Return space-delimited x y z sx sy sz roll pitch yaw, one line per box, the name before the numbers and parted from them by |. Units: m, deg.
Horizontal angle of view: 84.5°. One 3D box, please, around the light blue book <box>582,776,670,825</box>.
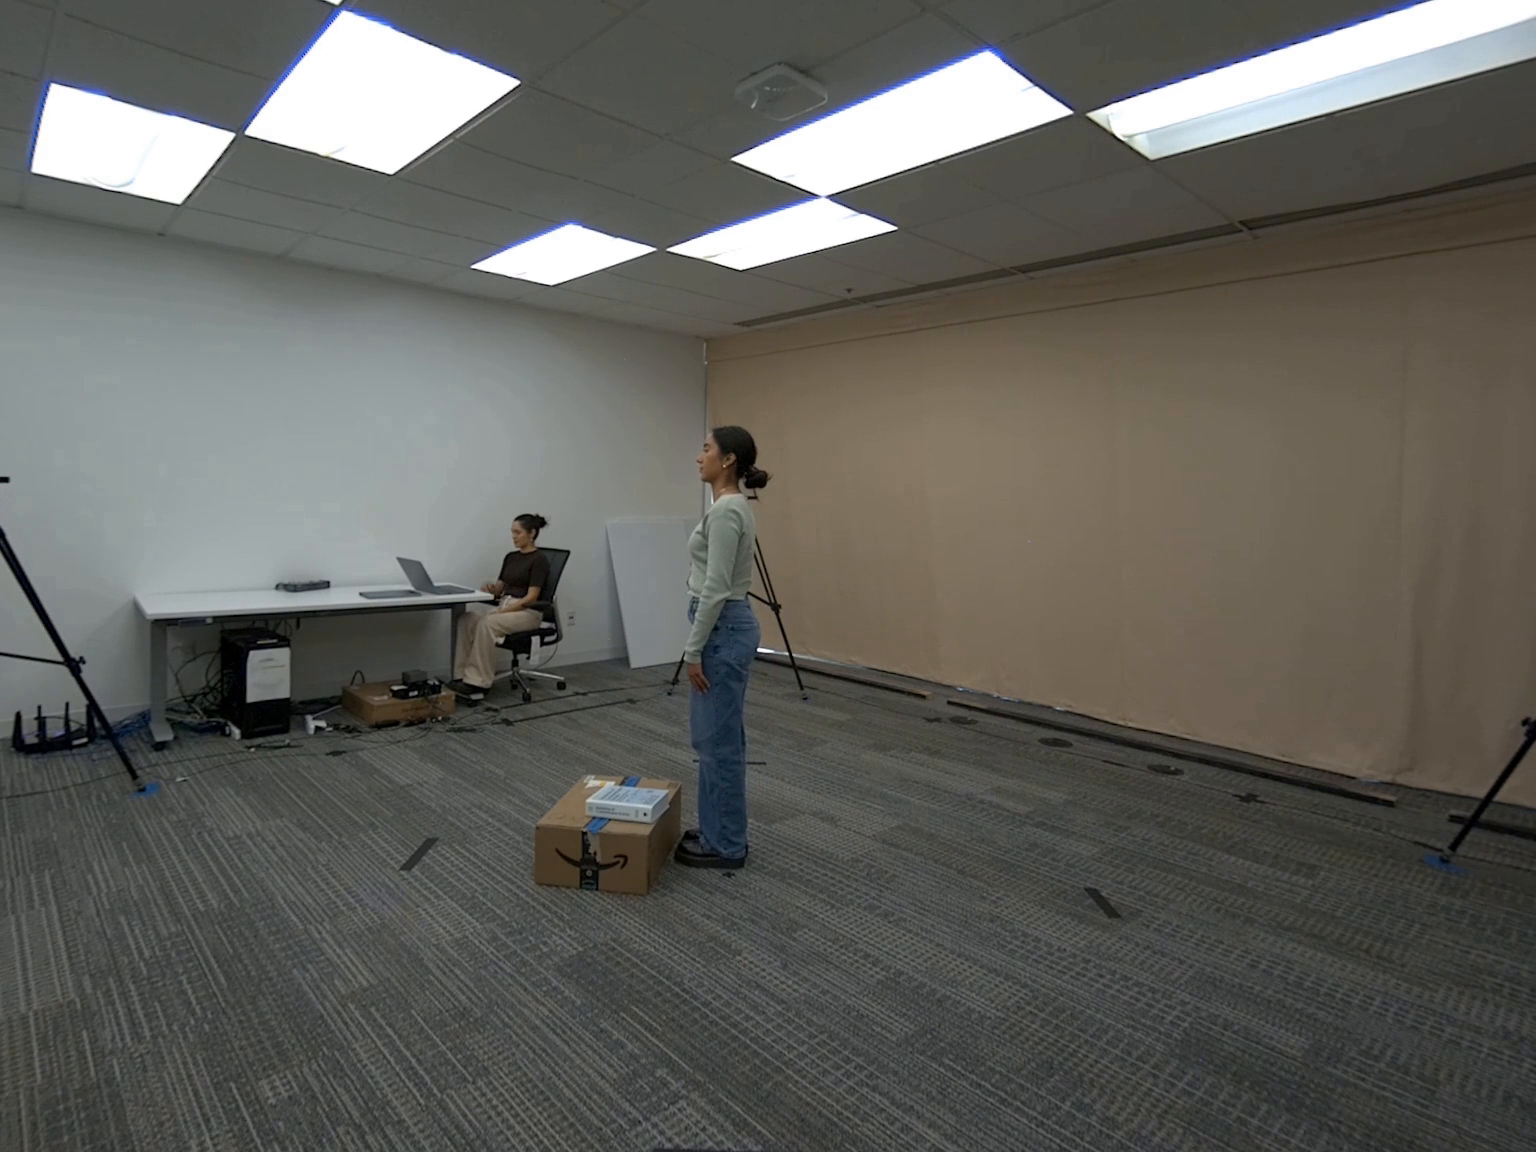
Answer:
light blue book | -0.527 0.846 3.146 0.264 0.059 0.189 1 4 15
